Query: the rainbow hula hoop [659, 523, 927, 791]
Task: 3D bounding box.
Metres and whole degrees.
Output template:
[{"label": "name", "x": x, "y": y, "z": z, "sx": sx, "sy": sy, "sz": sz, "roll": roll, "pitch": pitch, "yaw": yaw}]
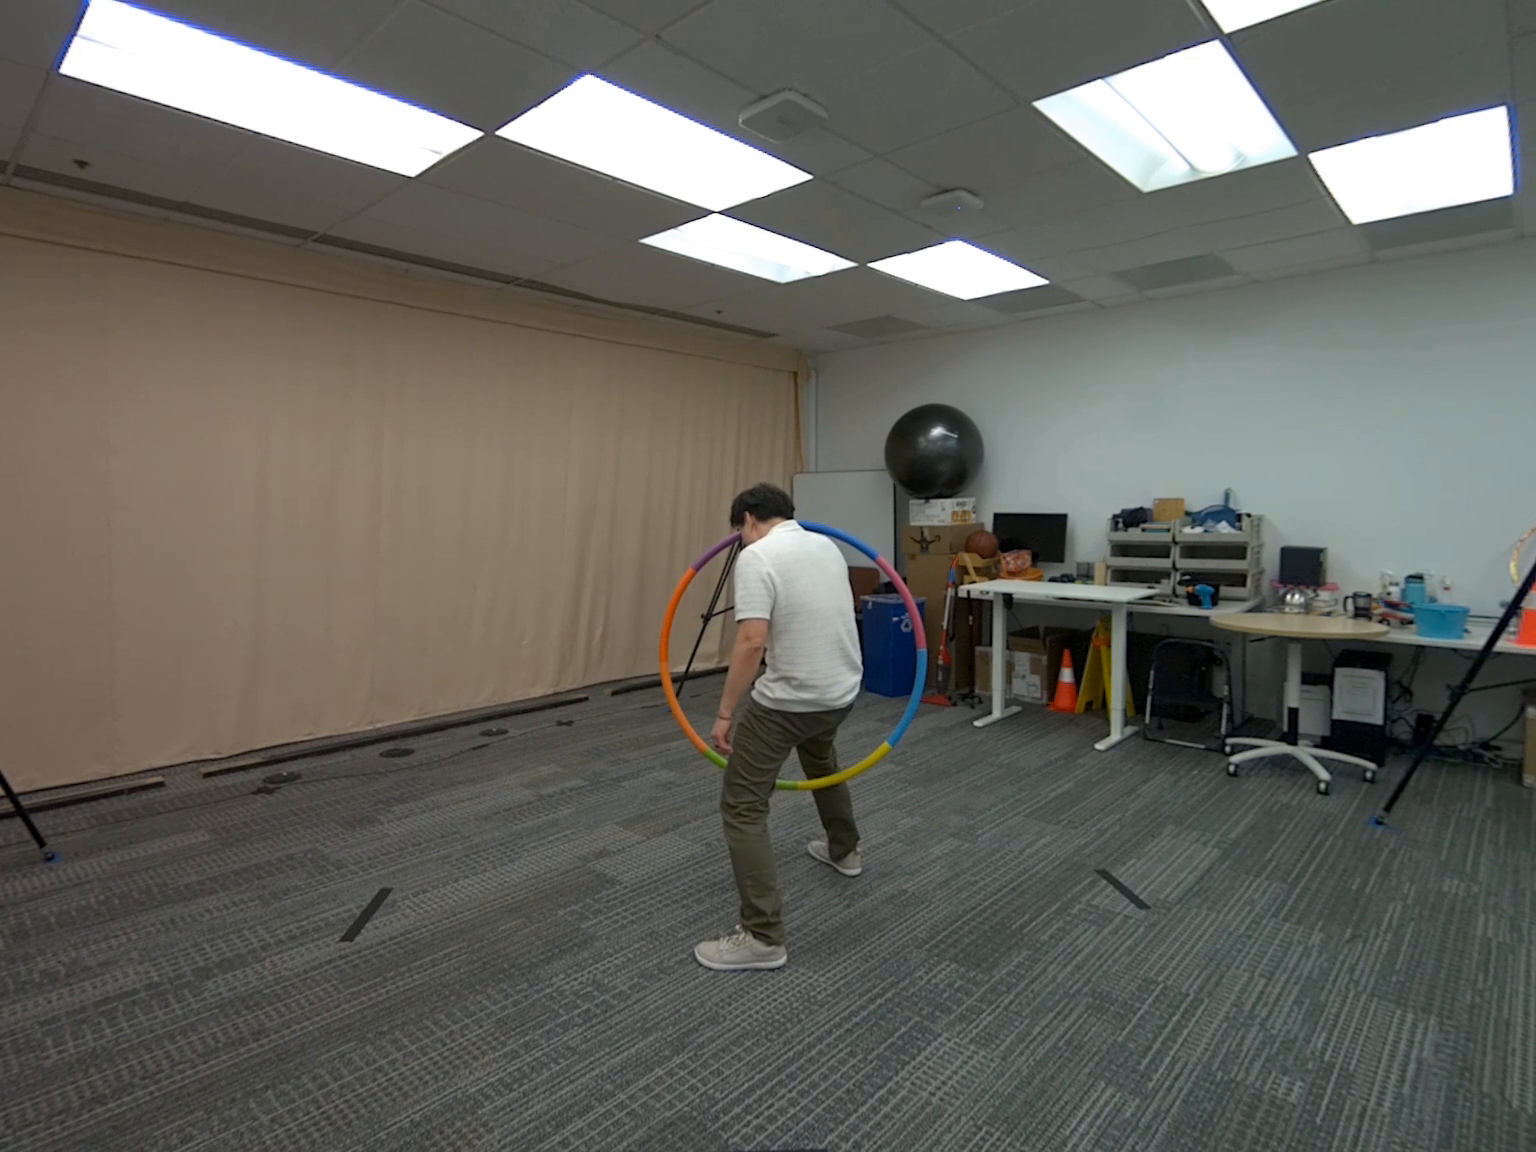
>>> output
[{"label": "rainbow hula hoop", "x": 0.086, "y": 0.289, "z": 3.101, "sx": 0.987, "sy": 0.979, "sz": 0.035, "roll": 0, "pitch": 0, "yaw": 8}]
